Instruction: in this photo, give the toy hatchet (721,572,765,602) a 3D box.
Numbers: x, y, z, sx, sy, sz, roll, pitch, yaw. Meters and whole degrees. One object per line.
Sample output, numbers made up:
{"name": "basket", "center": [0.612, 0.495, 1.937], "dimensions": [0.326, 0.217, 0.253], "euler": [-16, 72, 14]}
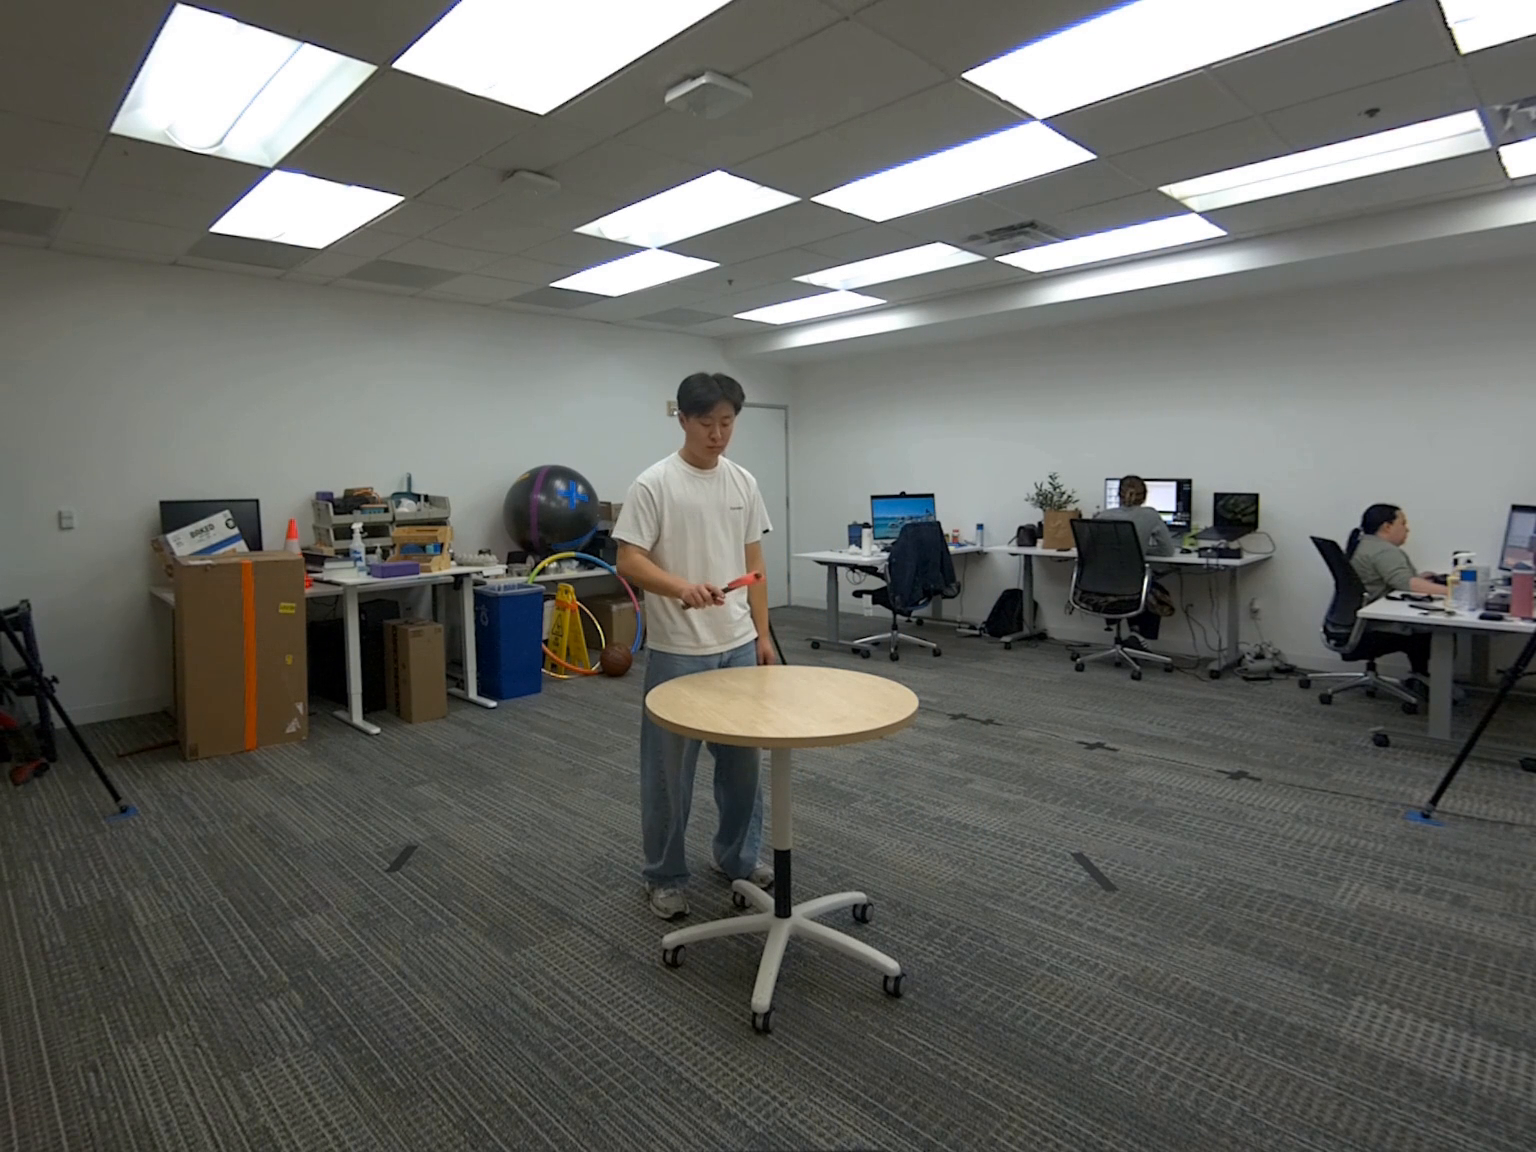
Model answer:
{"name": "toy hatchet", "center": [-0.155, 0.035, 2.442], "dimensions": [0.271, 0.030, 0.129], "euler": [-20, -4, 9]}
